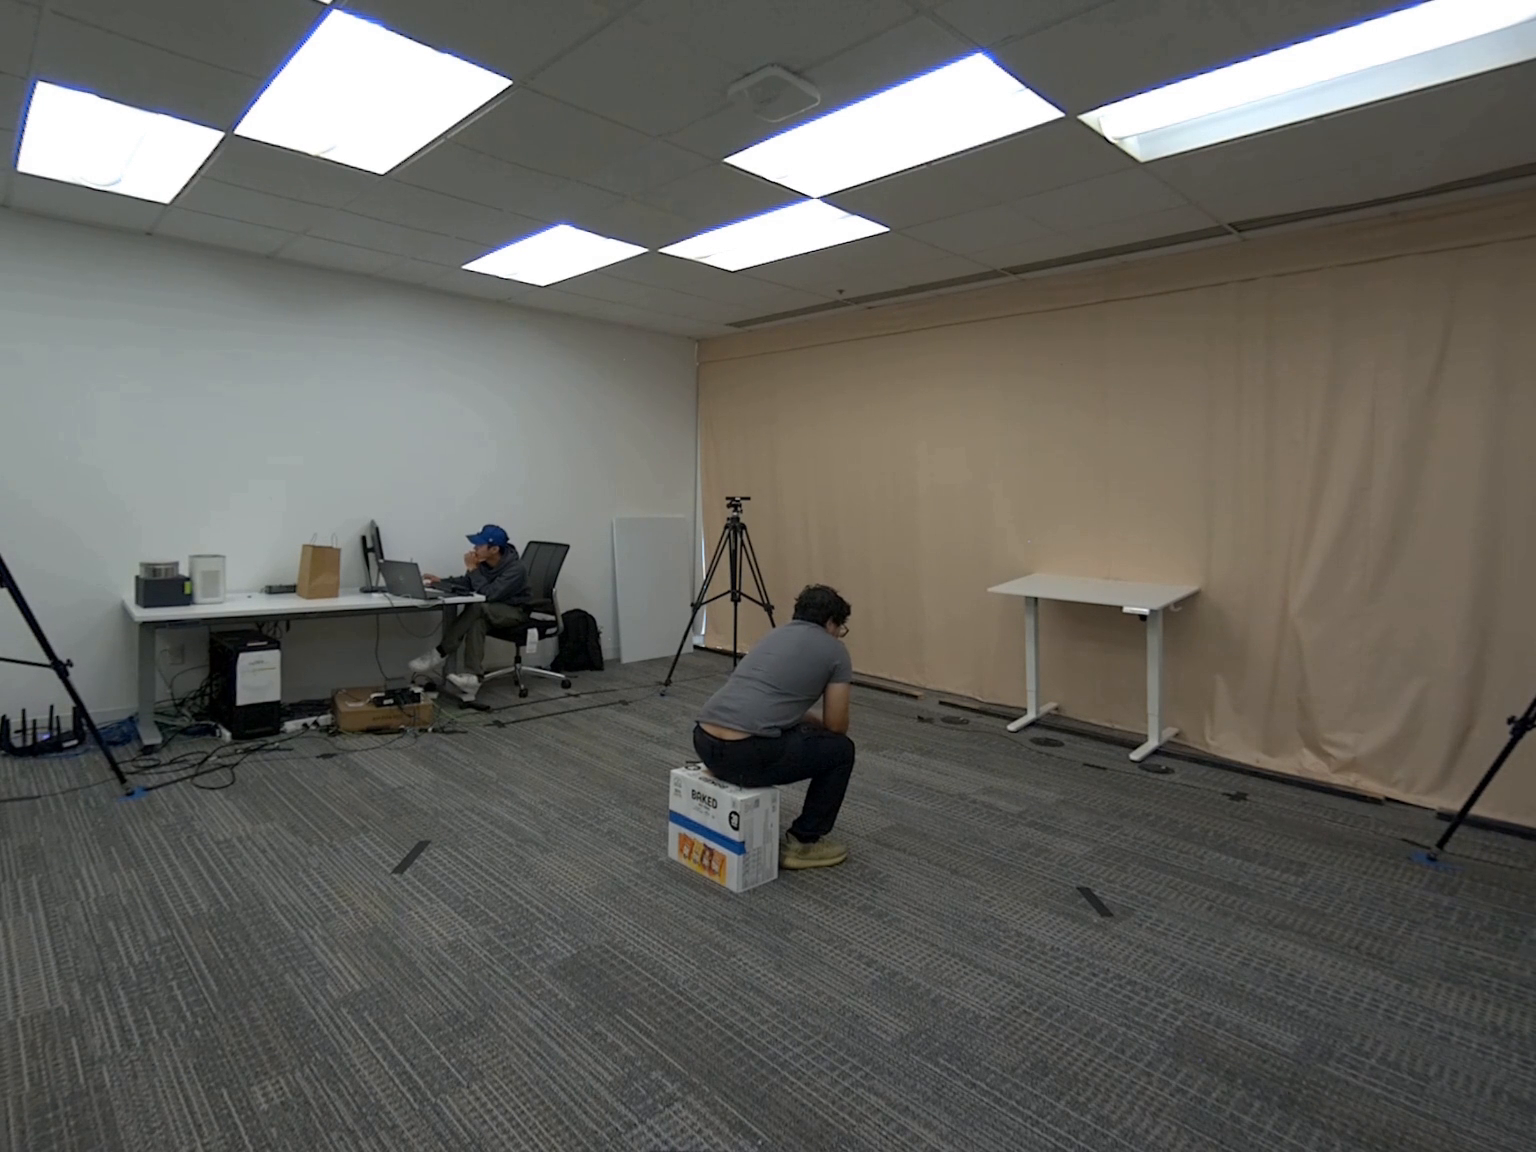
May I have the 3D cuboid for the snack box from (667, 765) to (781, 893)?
[{"bbox_3d":[-0.179,0.933,3.165,0.201,0.339,0.416,-1,5,-44],"label":"snack box"}]
